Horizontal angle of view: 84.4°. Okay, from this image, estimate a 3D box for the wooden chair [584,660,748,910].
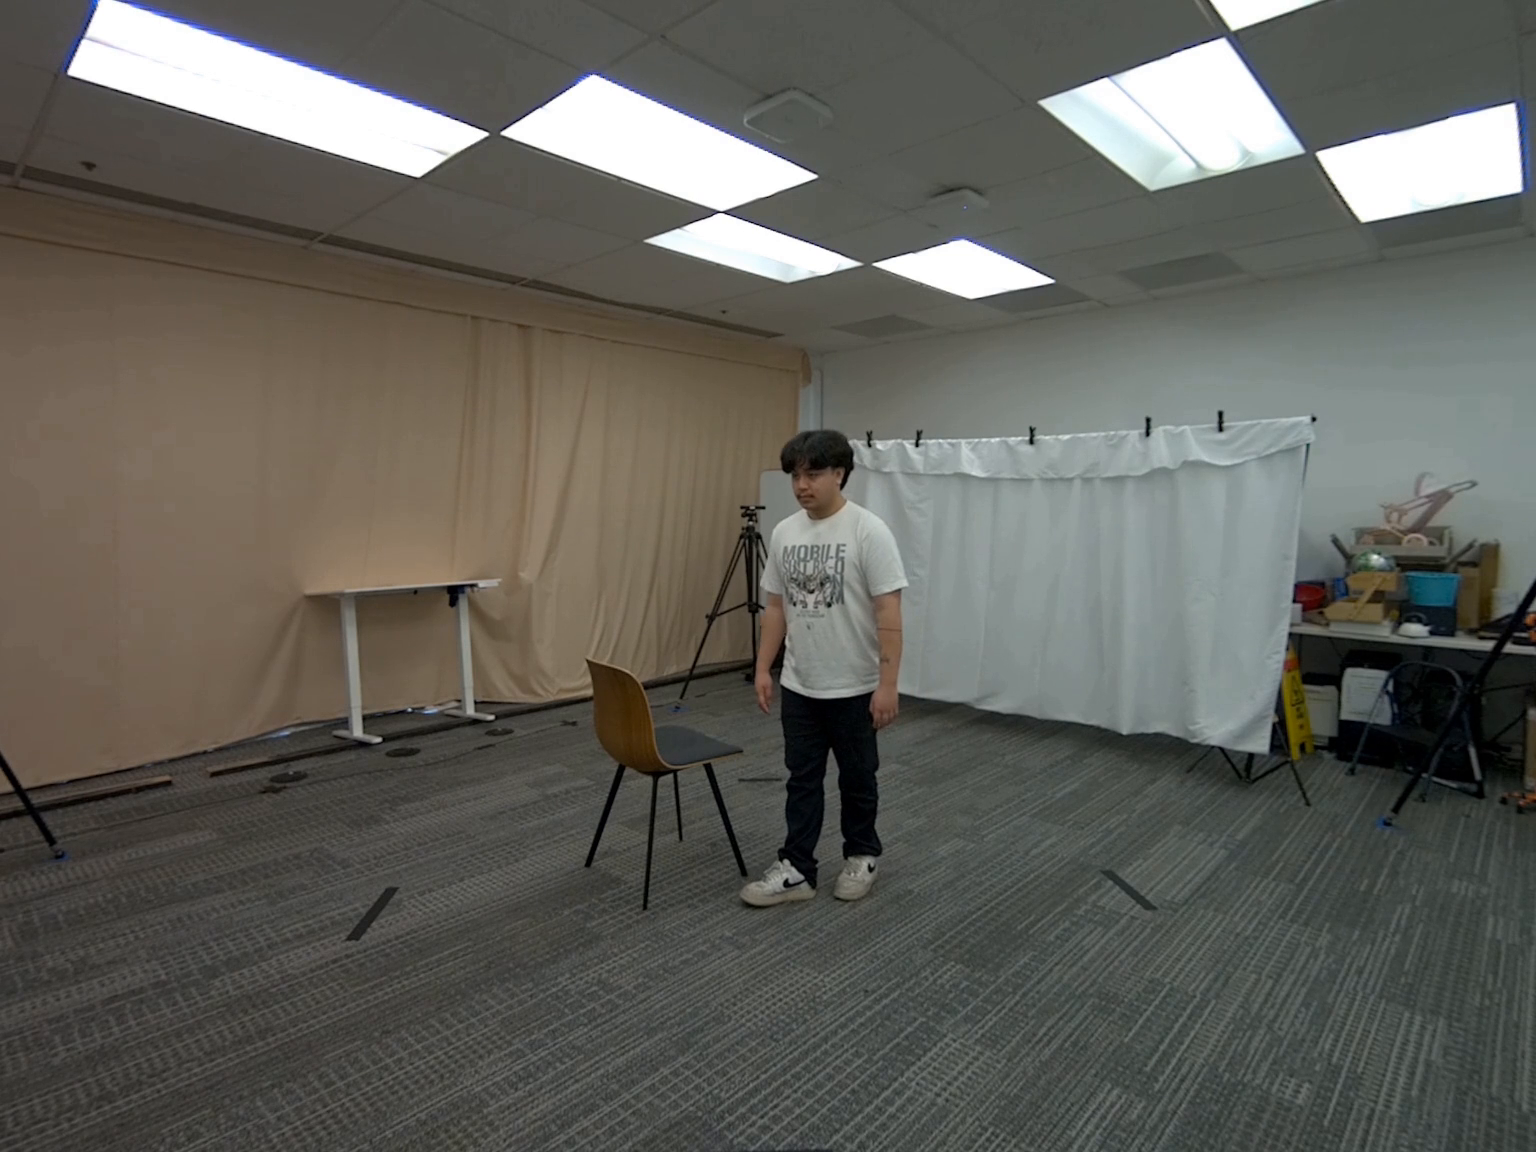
[{"bbox_3d":[-0.393,0.706,3.192,0.509,0.874,0.493,-9,7,-38],"label":"wooden chair"}]
